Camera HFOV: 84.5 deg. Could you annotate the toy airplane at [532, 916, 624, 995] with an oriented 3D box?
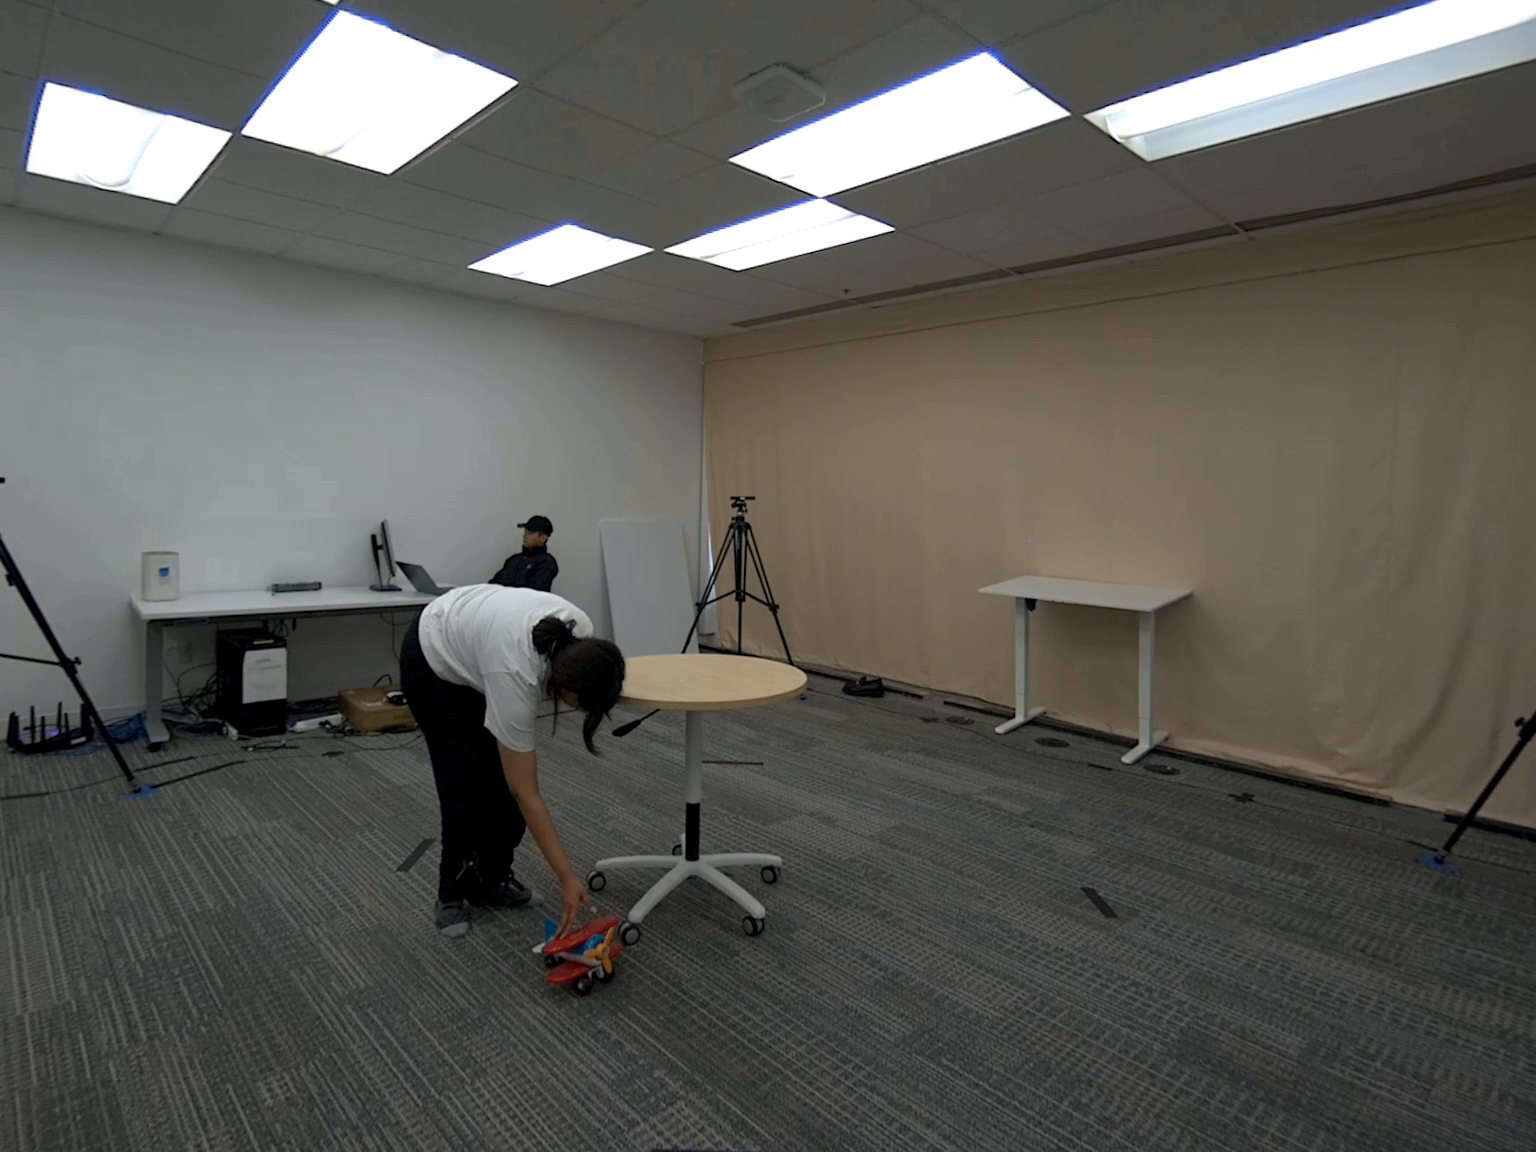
[{"bbox_3d":[-0.571,1.088,2.401,0.261,0.156,0.250,3,6,10],"label":"toy airplane"}]
